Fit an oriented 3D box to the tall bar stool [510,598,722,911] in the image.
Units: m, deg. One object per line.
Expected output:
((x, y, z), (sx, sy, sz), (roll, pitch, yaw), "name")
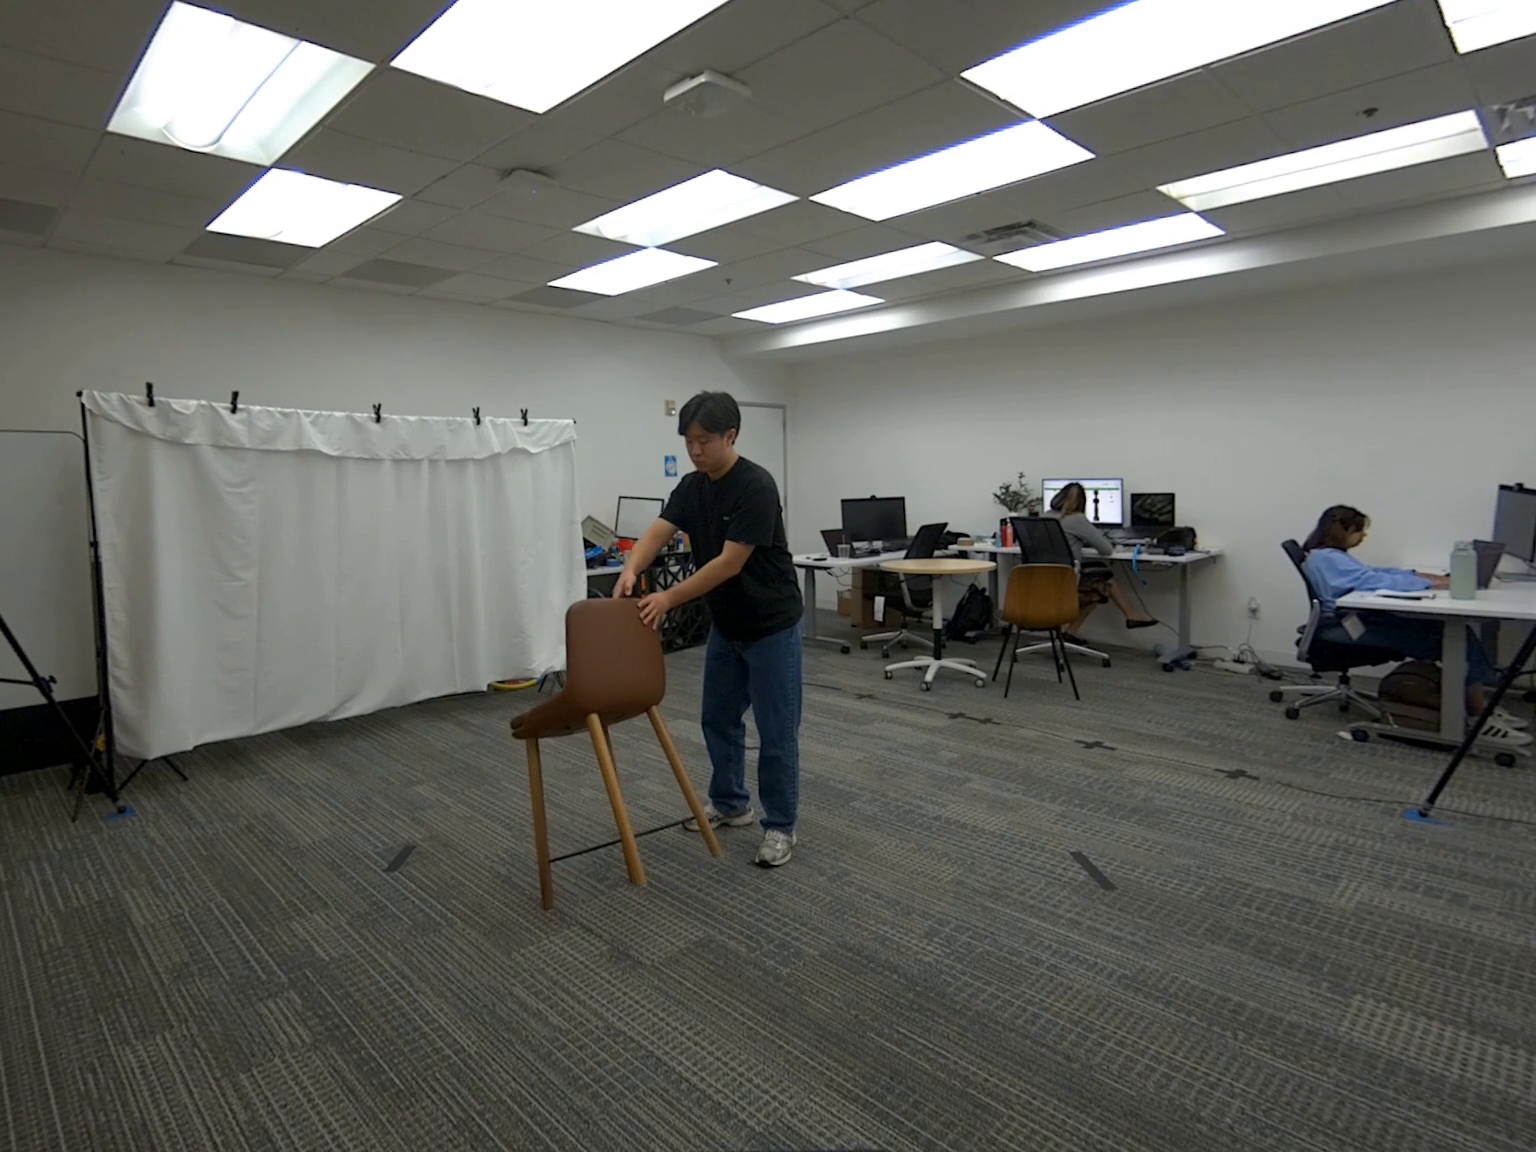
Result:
((-0.543, 0.572, 2.836), (0.473, 0.906, 0.443), (-28, -19, 35), "tall bar stool")
